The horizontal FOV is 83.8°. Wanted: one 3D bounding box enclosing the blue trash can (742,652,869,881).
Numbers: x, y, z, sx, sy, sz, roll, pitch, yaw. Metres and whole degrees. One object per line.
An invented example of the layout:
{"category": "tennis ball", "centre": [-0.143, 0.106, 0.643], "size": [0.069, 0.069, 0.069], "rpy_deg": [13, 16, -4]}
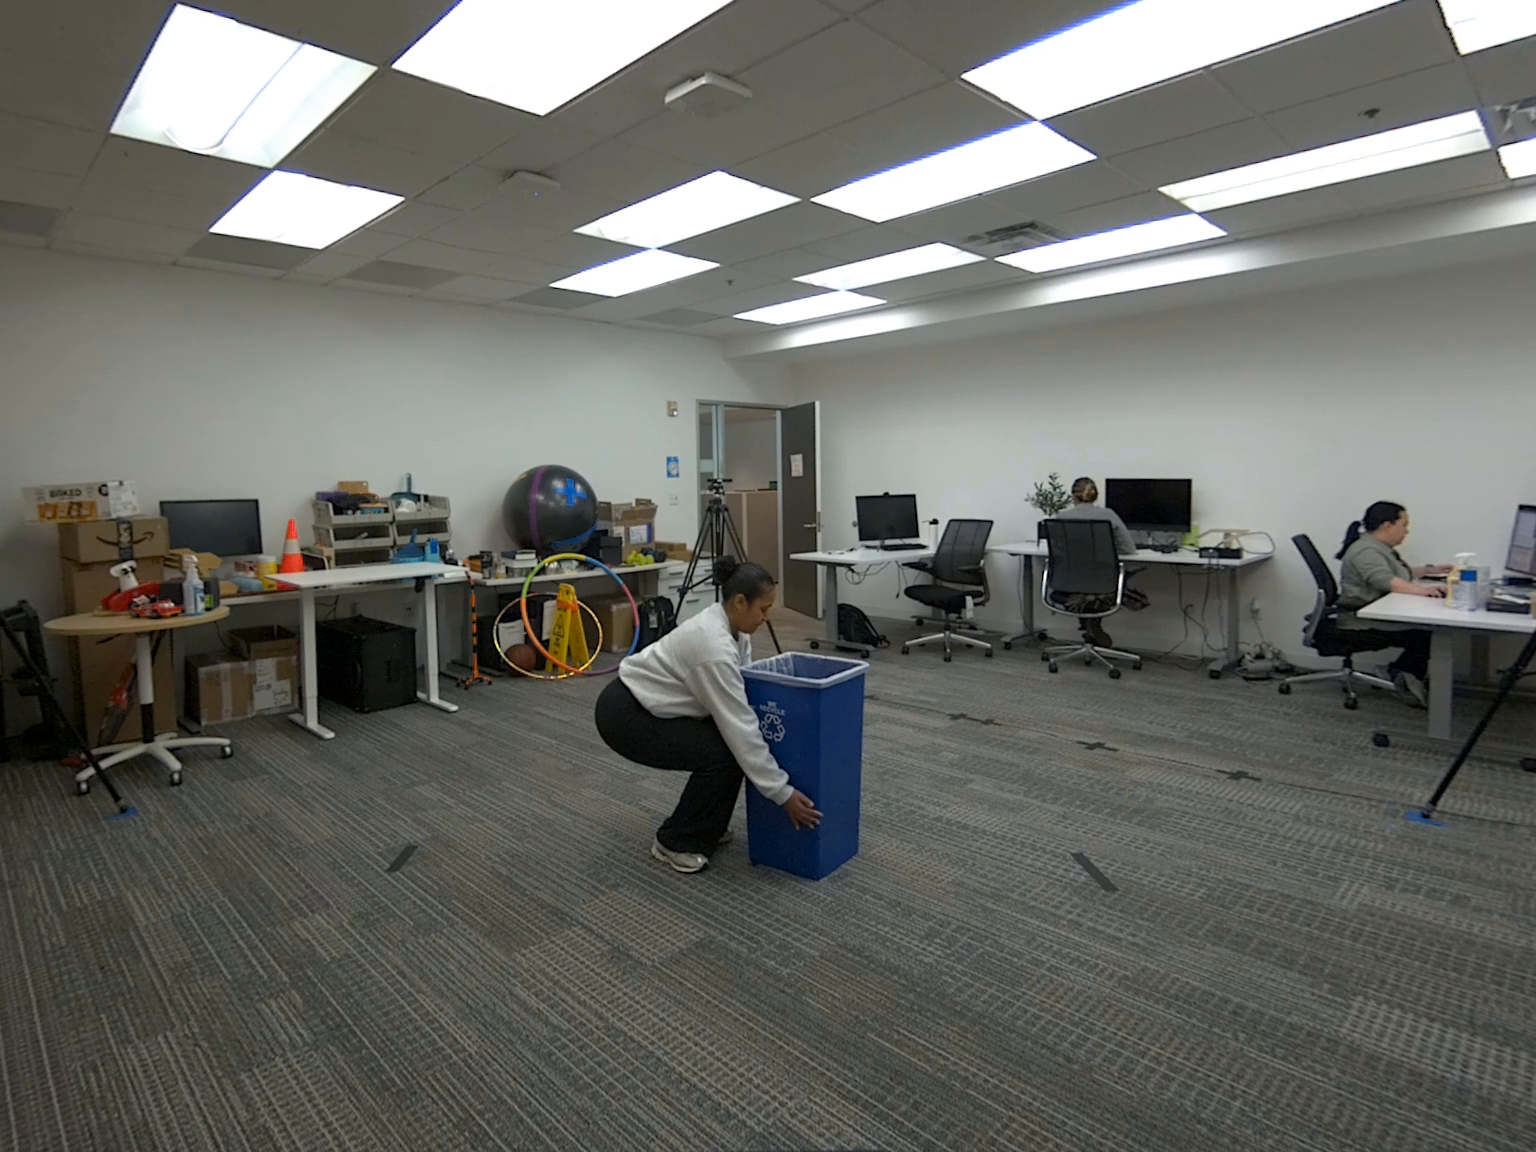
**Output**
{"category": "blue trash can", "centre": [0.132, 0.680, 3.131], "size": [0.389, 0.711, 0.365], "rpy_deg": [2, 4, 35]}
